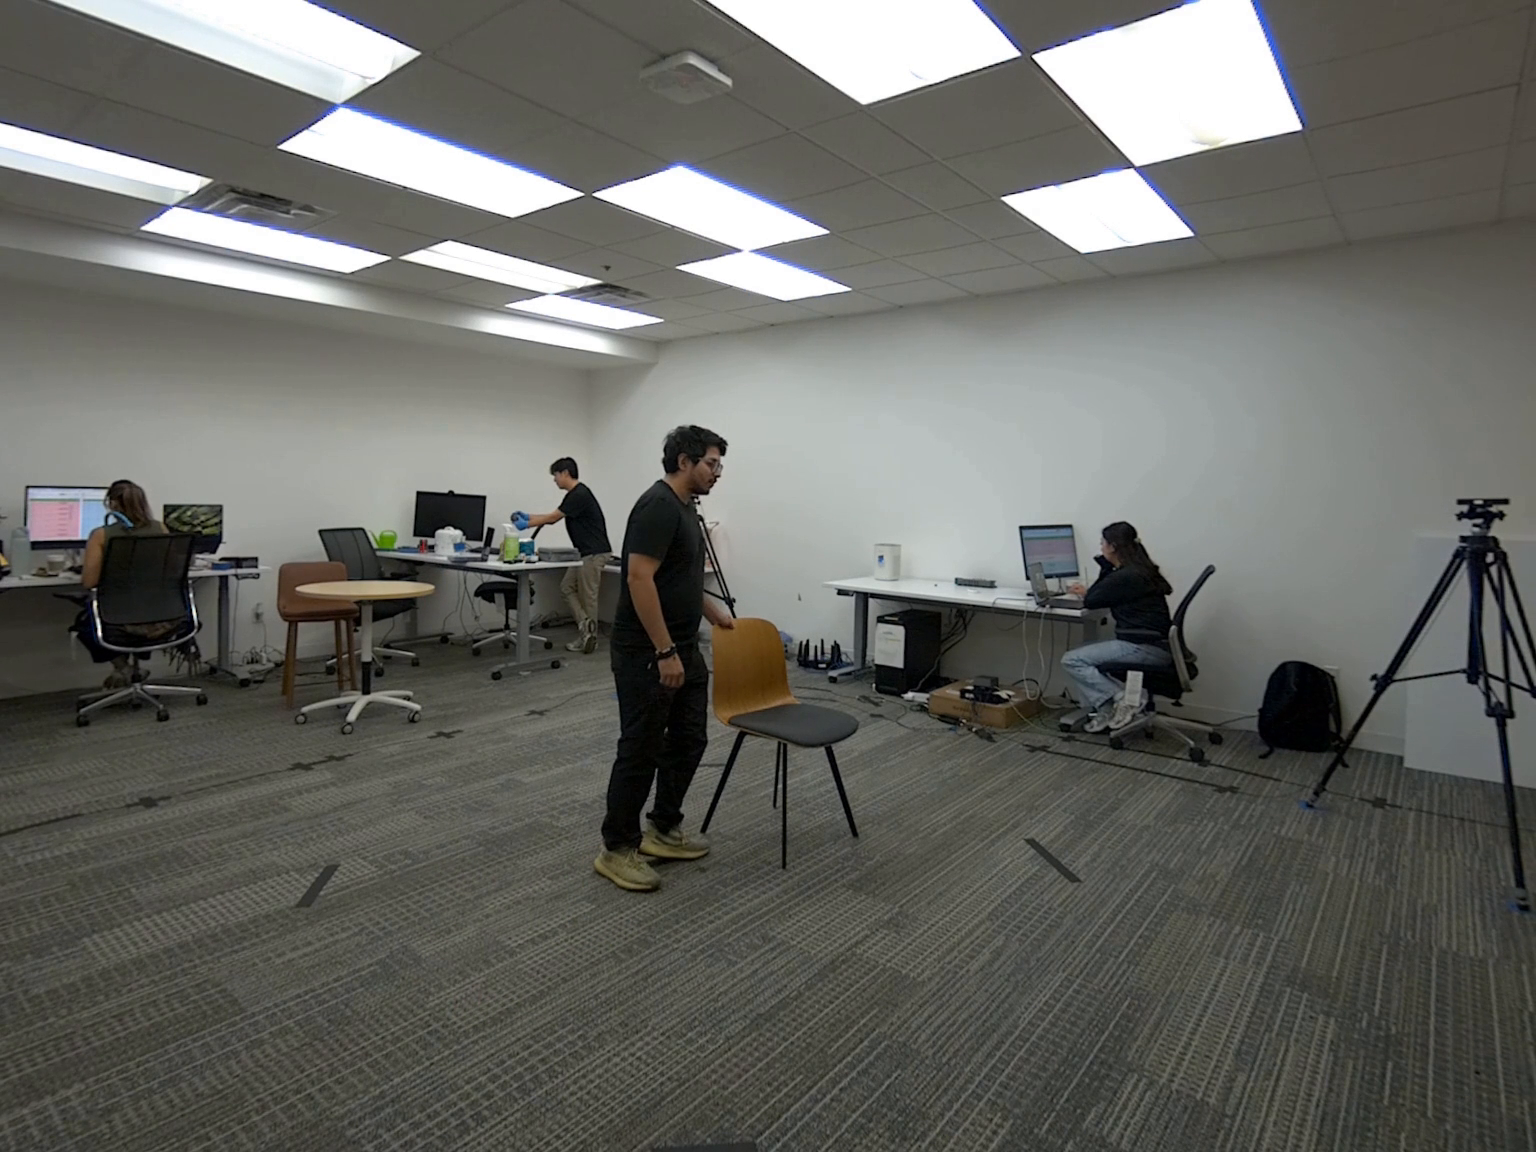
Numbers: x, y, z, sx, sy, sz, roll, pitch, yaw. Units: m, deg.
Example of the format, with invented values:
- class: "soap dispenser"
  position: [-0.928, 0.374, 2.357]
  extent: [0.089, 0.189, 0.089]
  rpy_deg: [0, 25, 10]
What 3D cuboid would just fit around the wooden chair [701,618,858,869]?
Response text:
- class: "wooden chair"
  position: [0.054, 0.618, 3.401]
  extent: [0.539, 0.877, 0.464]
  rpy_deg: [-2, 1, 44]
